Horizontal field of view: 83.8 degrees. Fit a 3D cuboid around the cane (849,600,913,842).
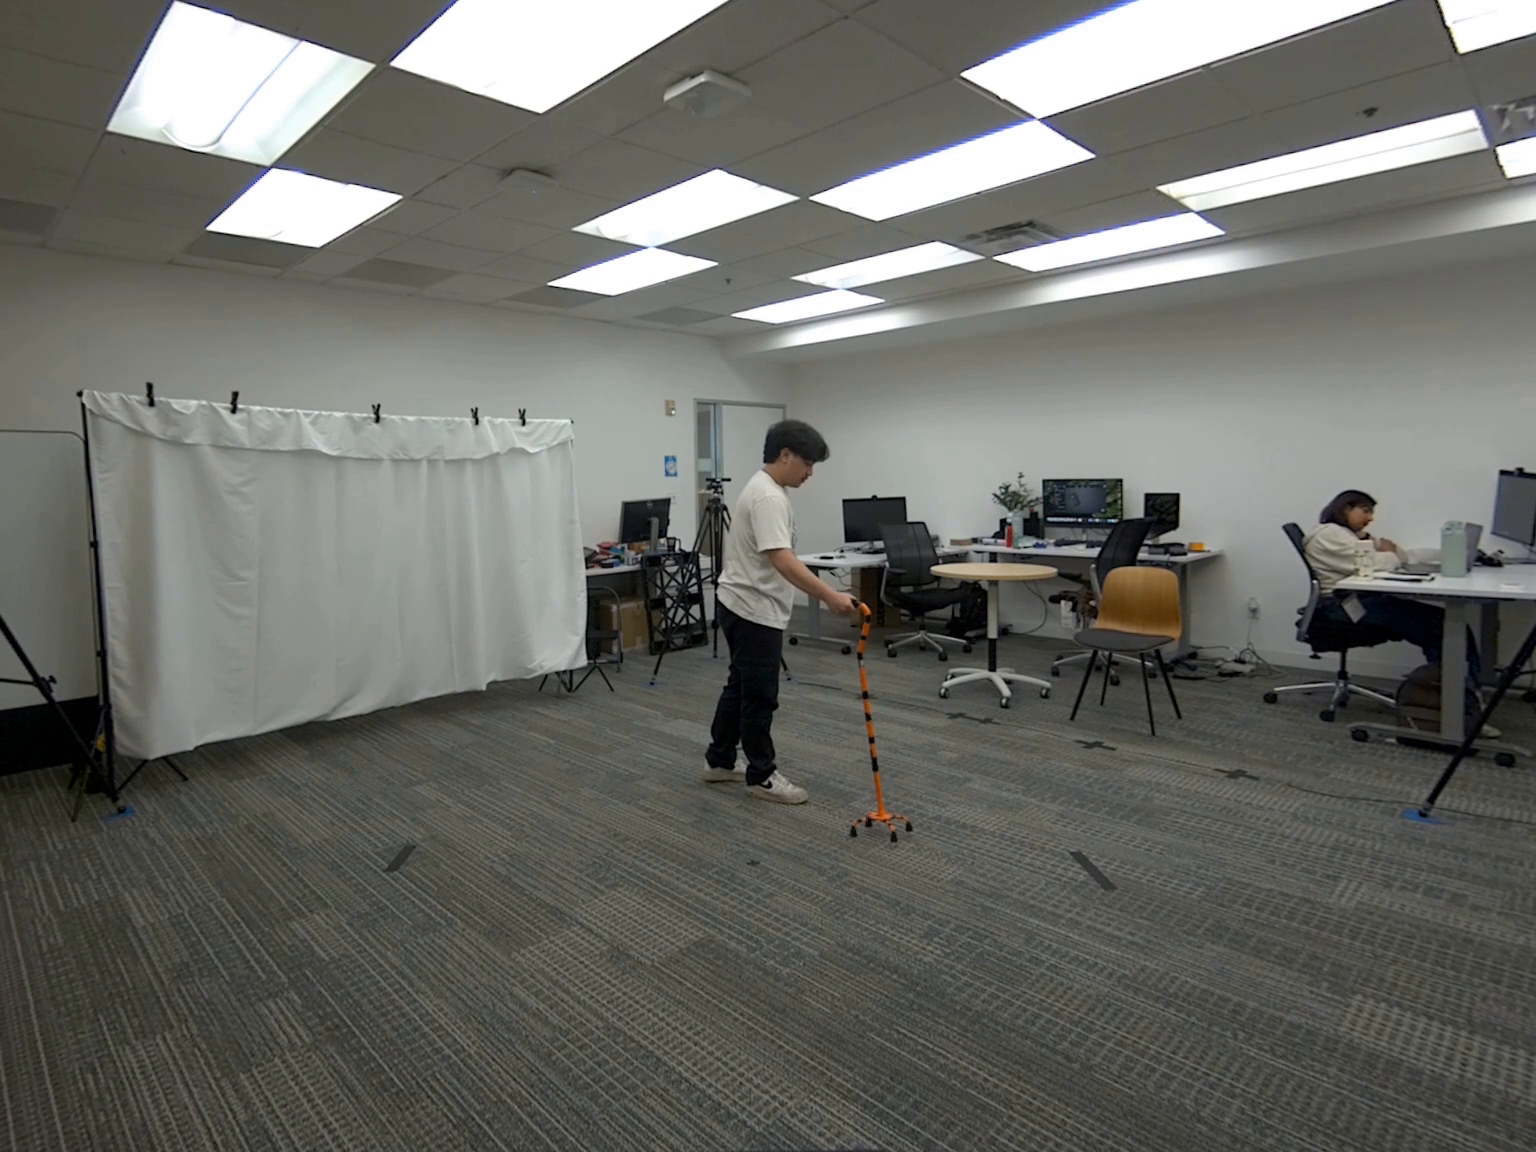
[{"bbox_3d":[0.386,0.554,3.325,0.211,0.909,0.148,-8,-1,36],"label":"cane"}]
